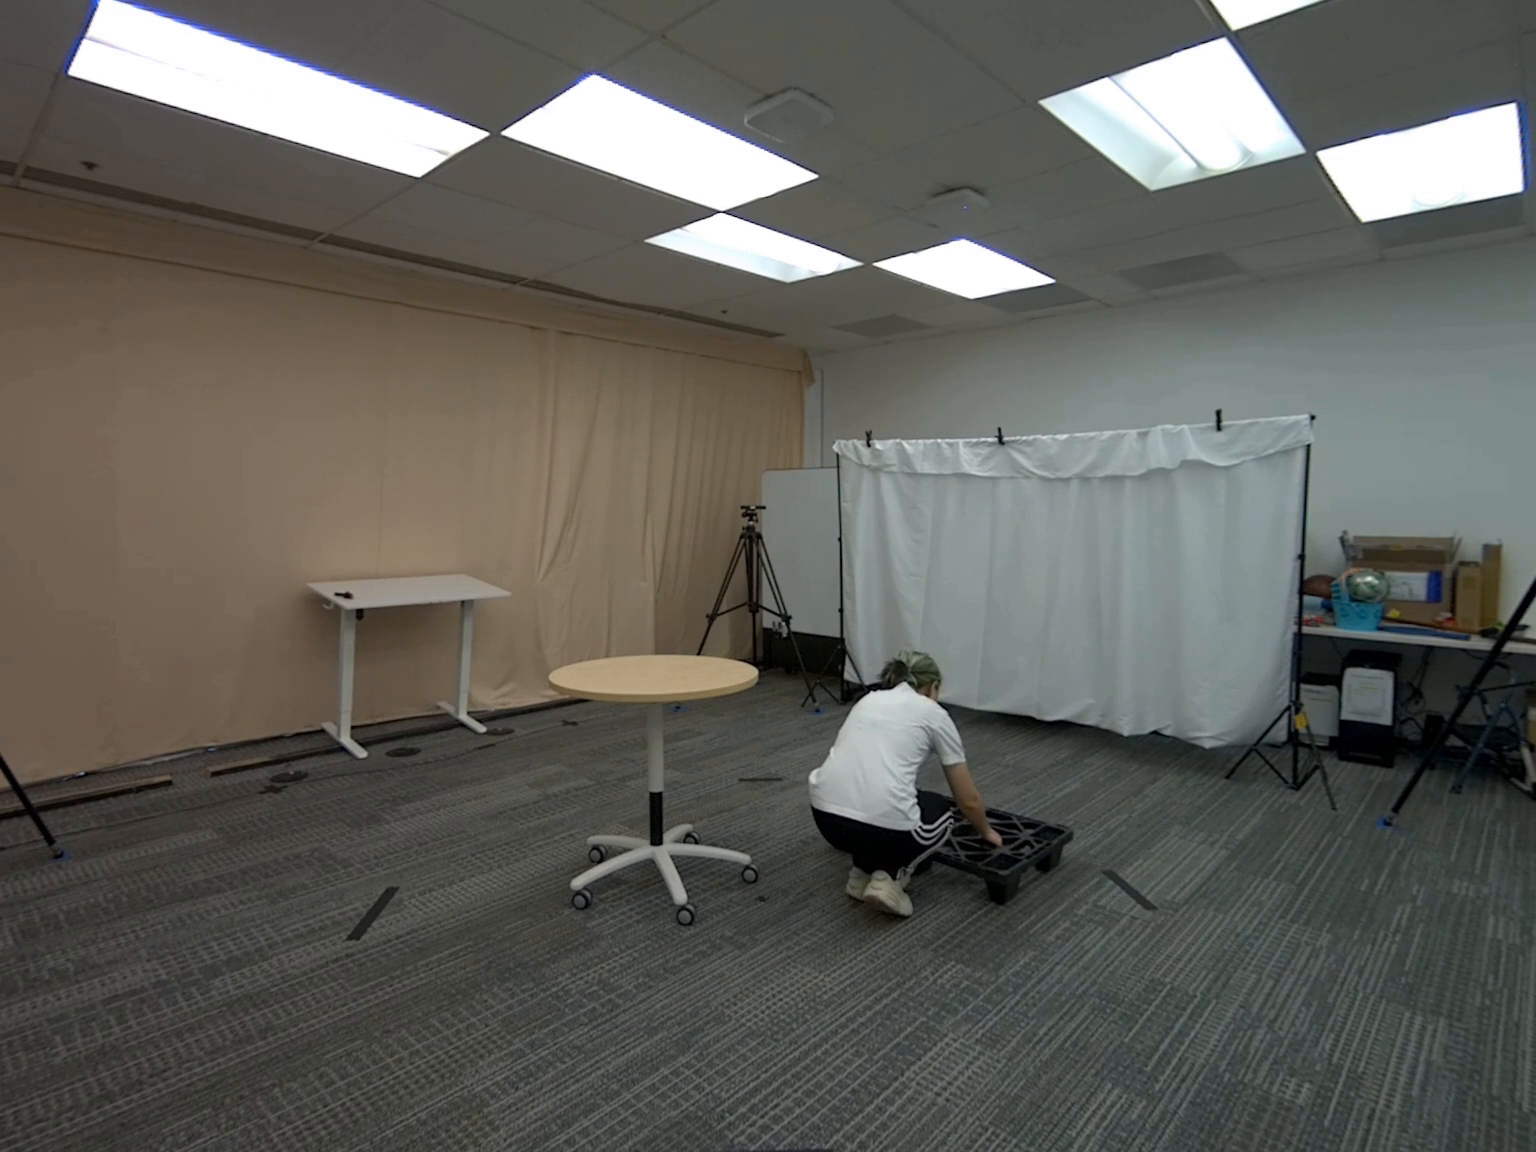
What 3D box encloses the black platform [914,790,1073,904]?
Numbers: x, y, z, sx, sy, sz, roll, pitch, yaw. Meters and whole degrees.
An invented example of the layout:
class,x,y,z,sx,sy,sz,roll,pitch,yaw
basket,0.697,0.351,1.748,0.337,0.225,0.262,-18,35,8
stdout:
class,x,y,z,sx,sy,sz,roll,pitch,yaw
black platform,0.696,1.037,3.341,0.833,0.143,0.586,5,6,43
